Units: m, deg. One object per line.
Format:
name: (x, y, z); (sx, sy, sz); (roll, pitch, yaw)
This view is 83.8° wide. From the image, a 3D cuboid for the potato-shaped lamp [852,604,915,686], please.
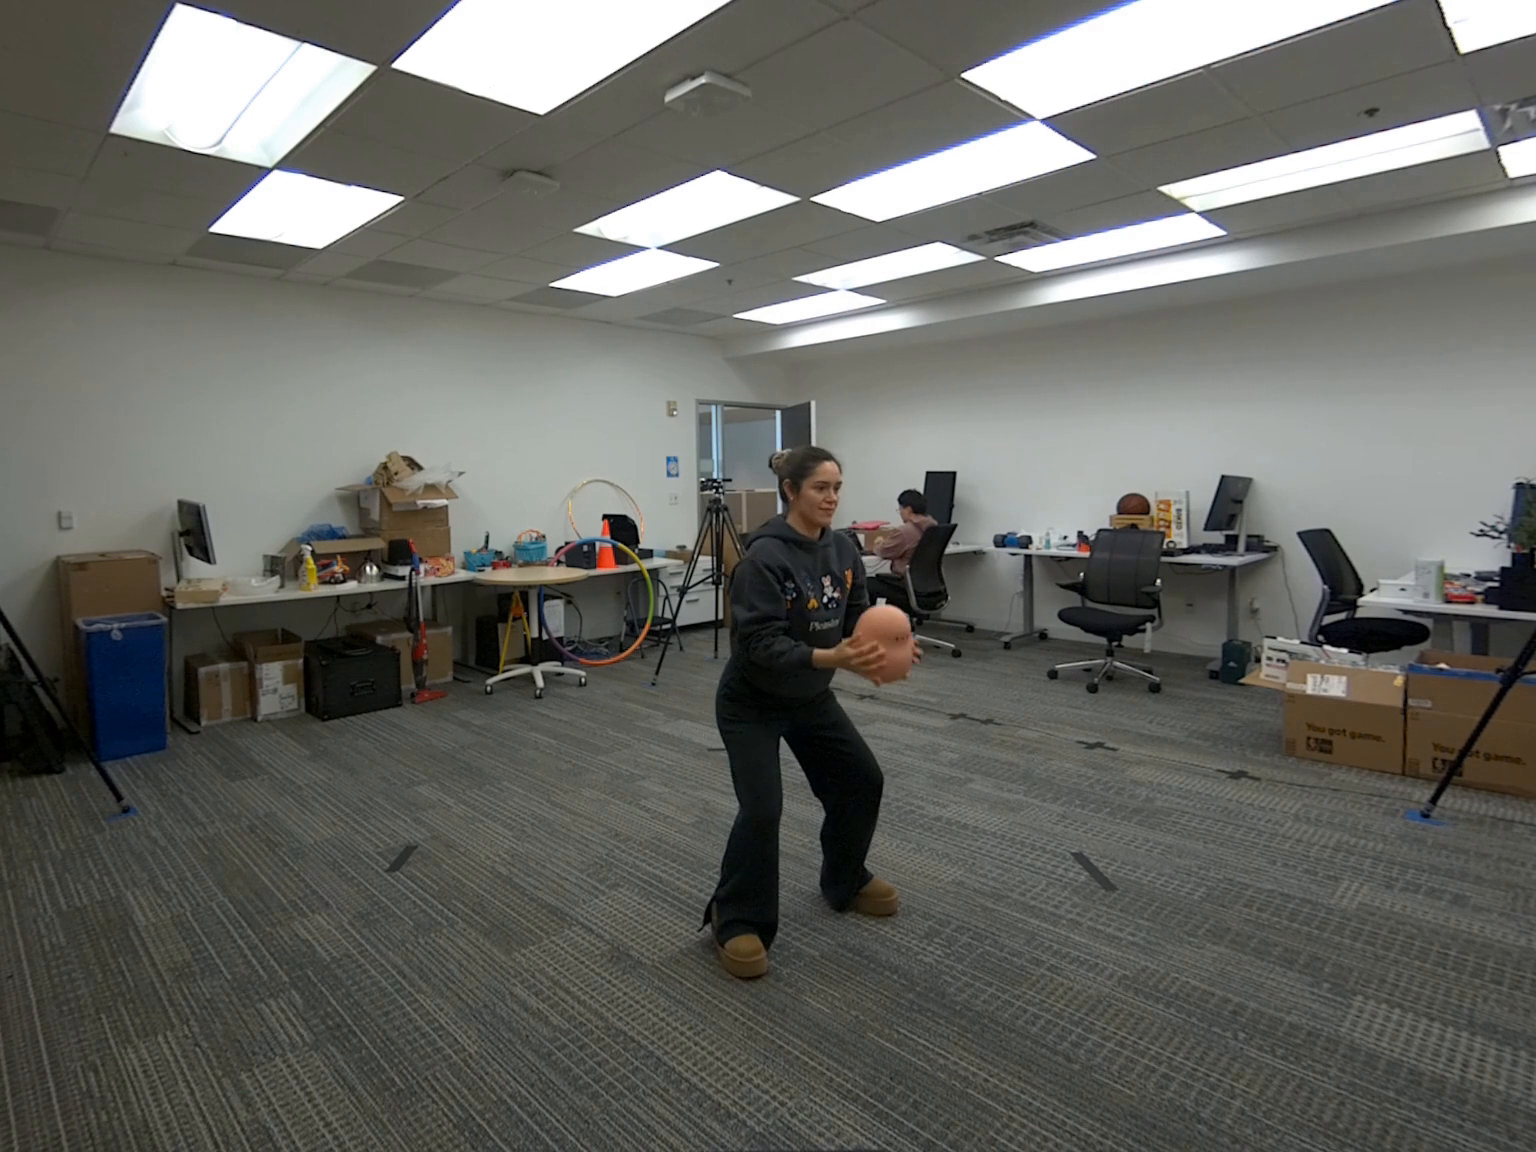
potato-shaped lamp: (0.304, 0.186, 2.316); (0.161, 0.195, 0.178); (-7, 30, -35)
